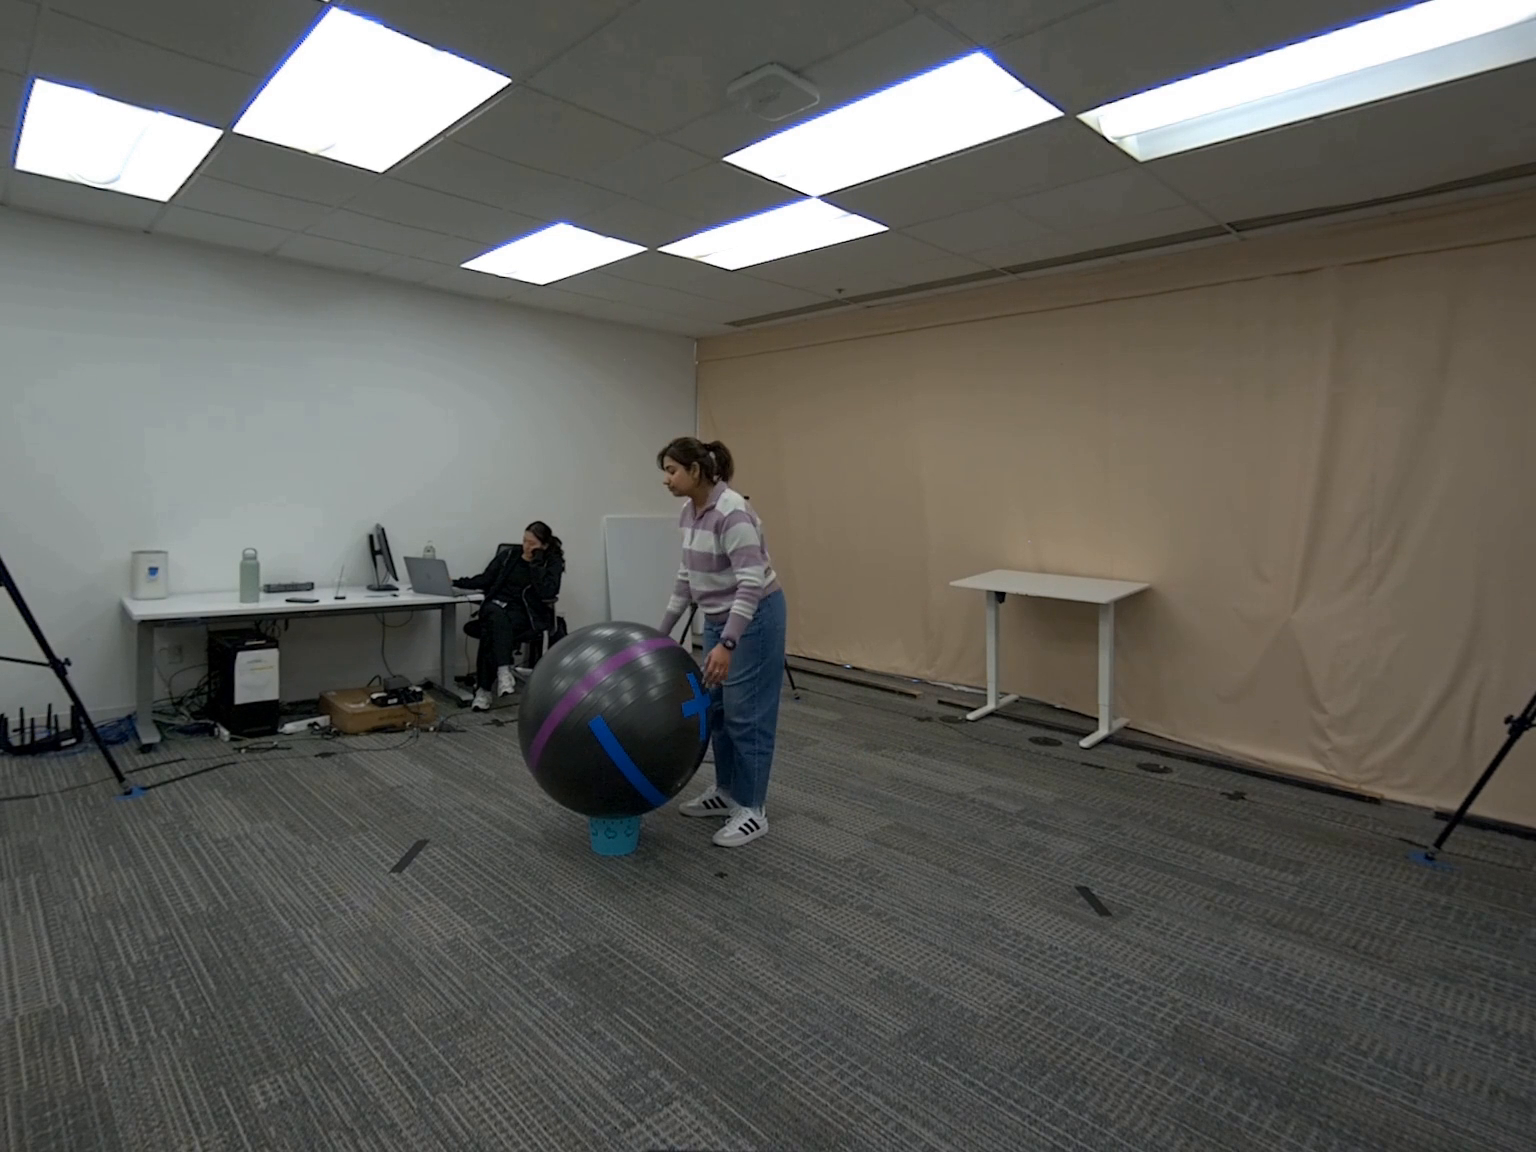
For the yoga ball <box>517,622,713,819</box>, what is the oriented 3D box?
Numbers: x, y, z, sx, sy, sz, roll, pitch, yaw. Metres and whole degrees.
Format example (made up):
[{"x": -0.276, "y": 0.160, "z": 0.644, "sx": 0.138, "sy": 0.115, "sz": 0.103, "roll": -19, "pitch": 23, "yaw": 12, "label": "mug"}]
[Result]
[{"x": -0.609, "y": 0.564, "z": 3.315, "sx": 0.757, "sy": 0.756, "sz": 0.761, "roll": 1, "pitch": 4, "yaw": -1, "label": "yoga ball"}]
